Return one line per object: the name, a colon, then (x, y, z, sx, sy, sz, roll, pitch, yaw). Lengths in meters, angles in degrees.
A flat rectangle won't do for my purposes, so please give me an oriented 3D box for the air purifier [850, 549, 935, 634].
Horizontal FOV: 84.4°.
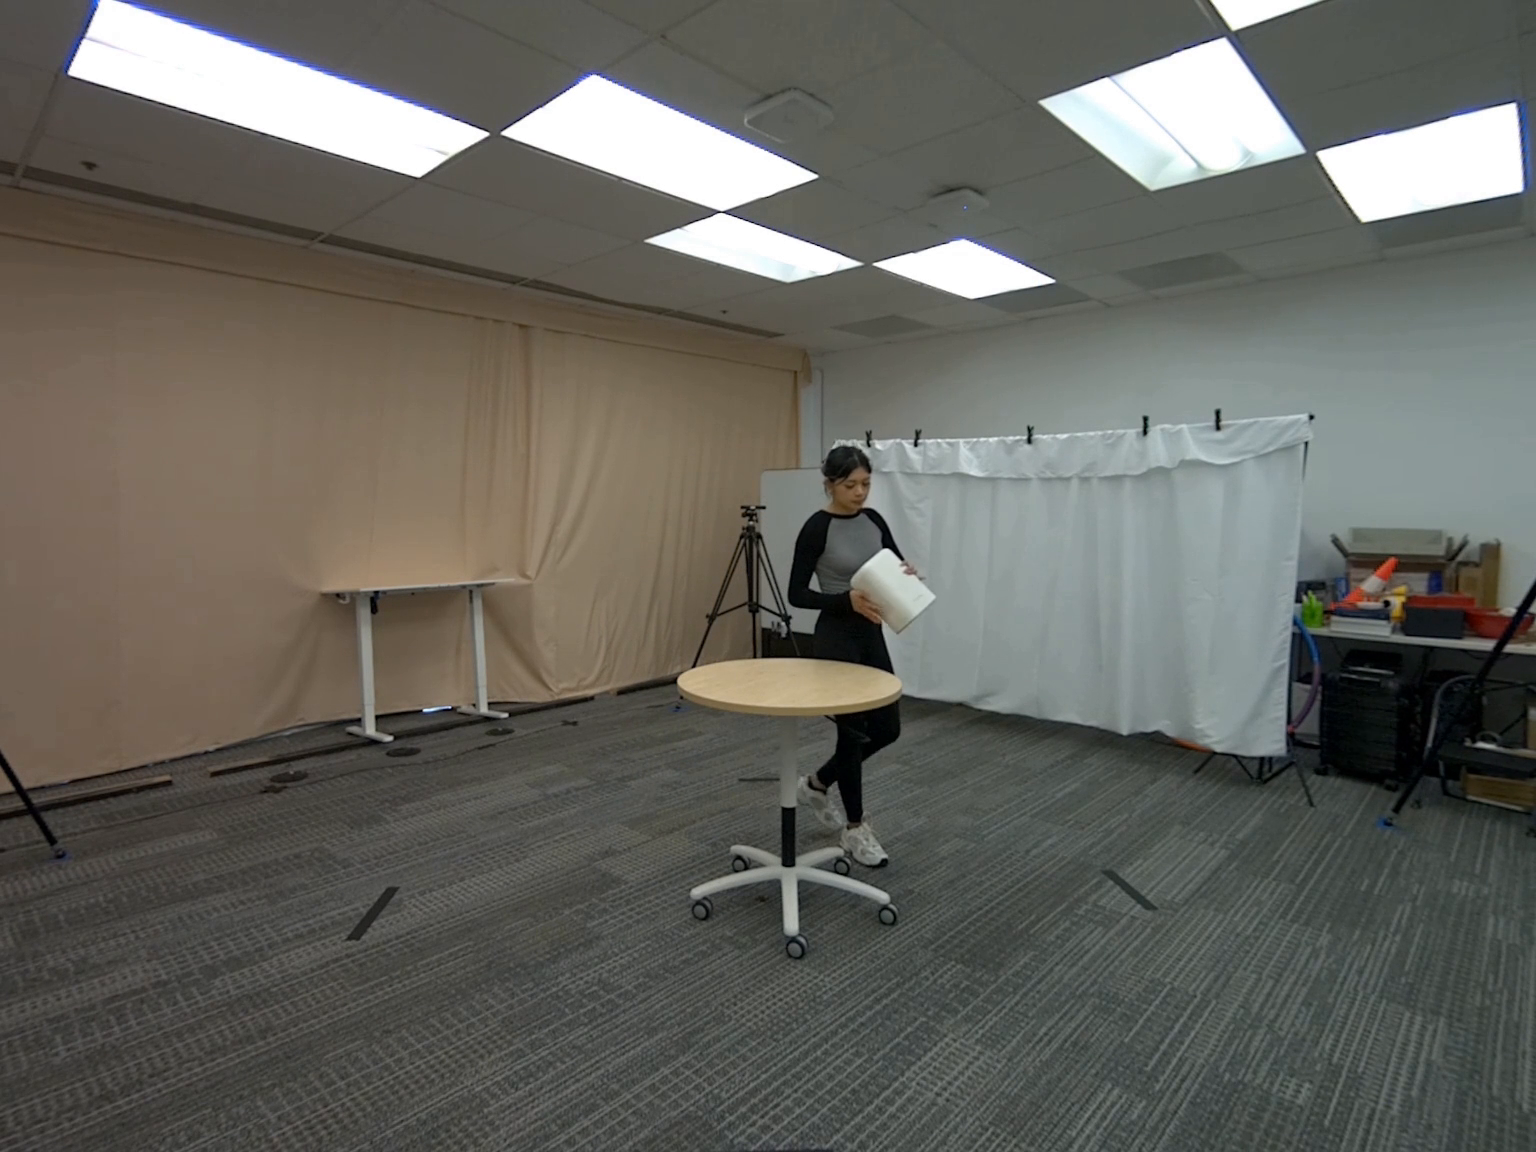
air purifier: (0.447, 0.053, 3.100, 0.169, 0.269, 0.171, -36, -12, -29)
